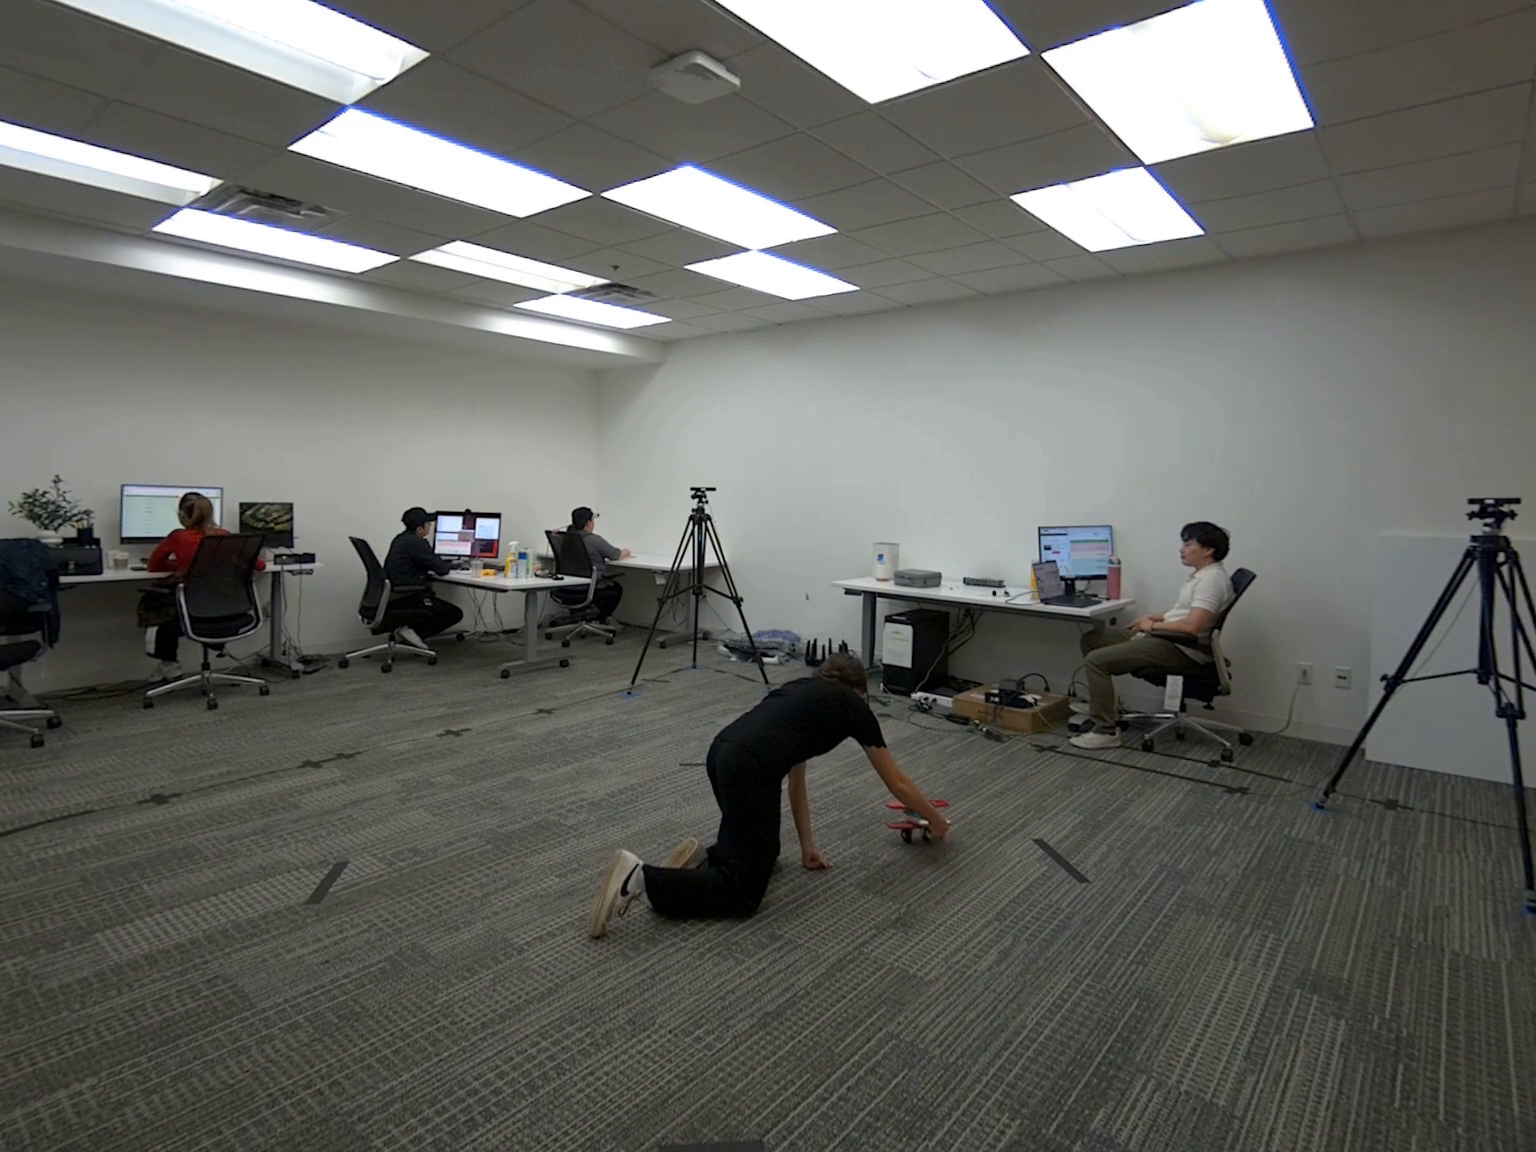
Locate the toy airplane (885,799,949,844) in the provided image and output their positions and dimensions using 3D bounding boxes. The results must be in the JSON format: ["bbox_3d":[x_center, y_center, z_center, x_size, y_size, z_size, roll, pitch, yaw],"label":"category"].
[{"bbox_3d":[0.608,0.951,3.351,0.242,0.160,0.263,13,-27,-38],"label":"toy airplane"}]
